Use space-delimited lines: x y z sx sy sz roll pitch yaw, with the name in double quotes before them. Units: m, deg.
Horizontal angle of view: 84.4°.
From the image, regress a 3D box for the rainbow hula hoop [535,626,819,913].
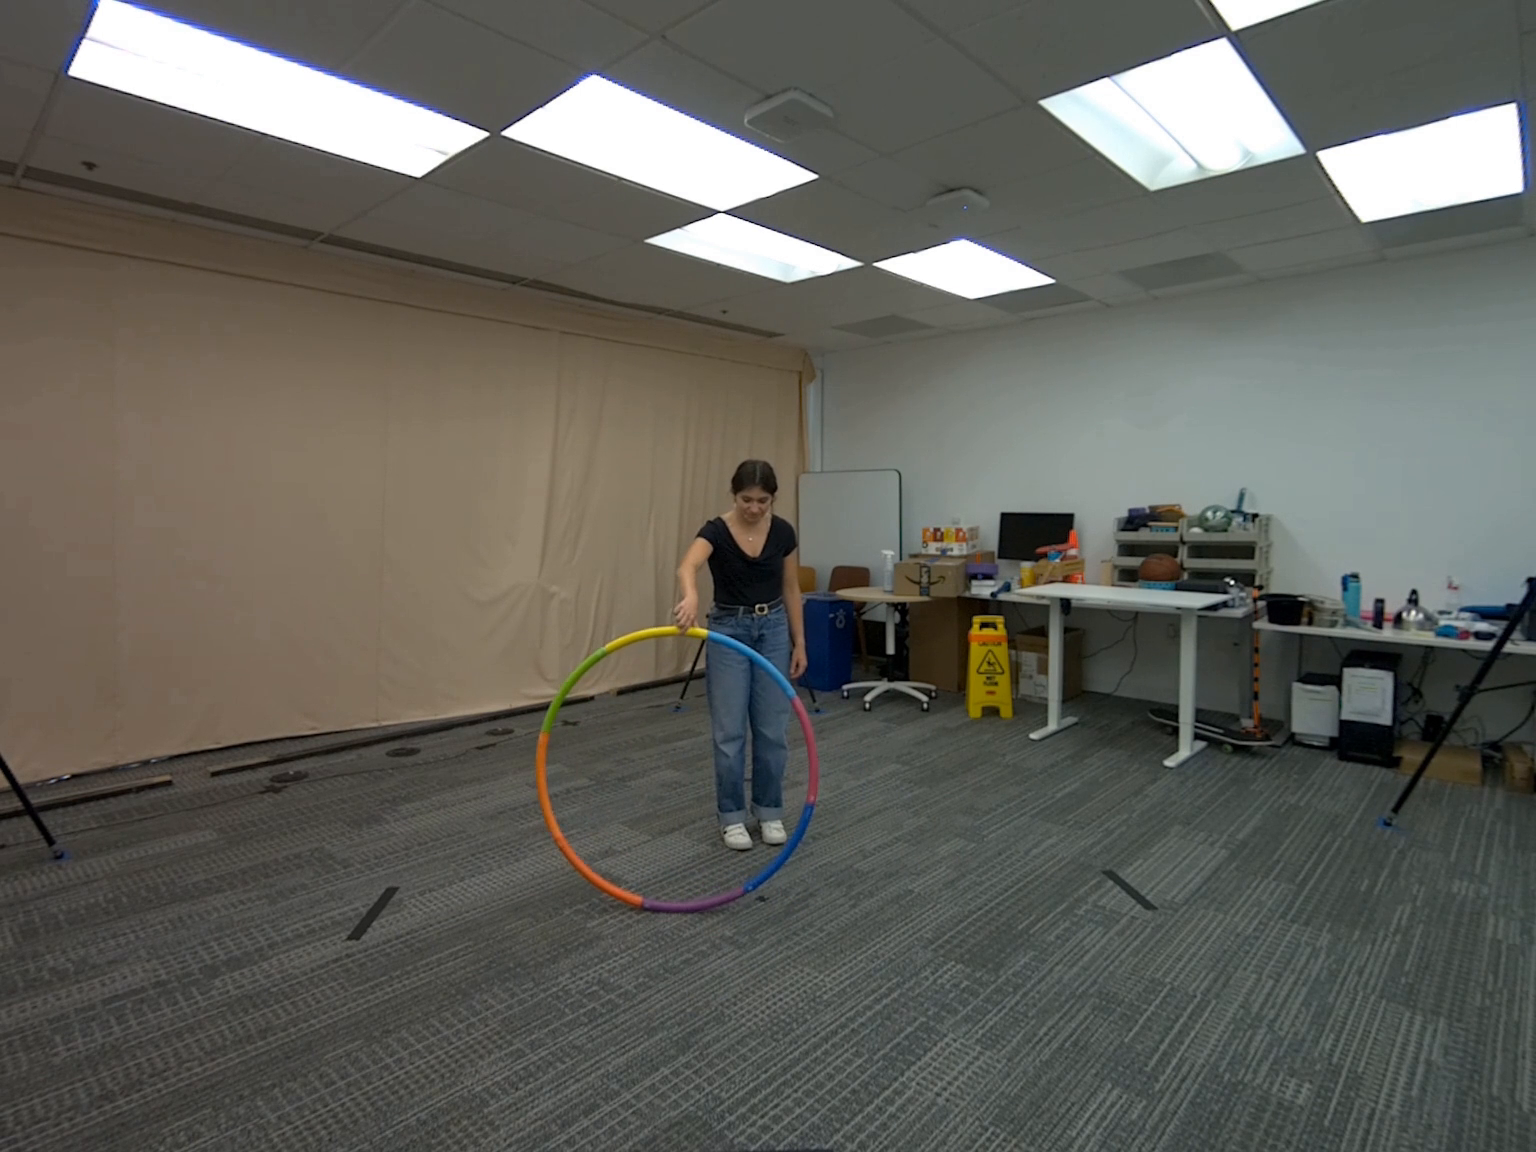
"rainbow hula hoop" -0.320 0.672 2.933 0.985 0.982 0.035 0 -6 6
